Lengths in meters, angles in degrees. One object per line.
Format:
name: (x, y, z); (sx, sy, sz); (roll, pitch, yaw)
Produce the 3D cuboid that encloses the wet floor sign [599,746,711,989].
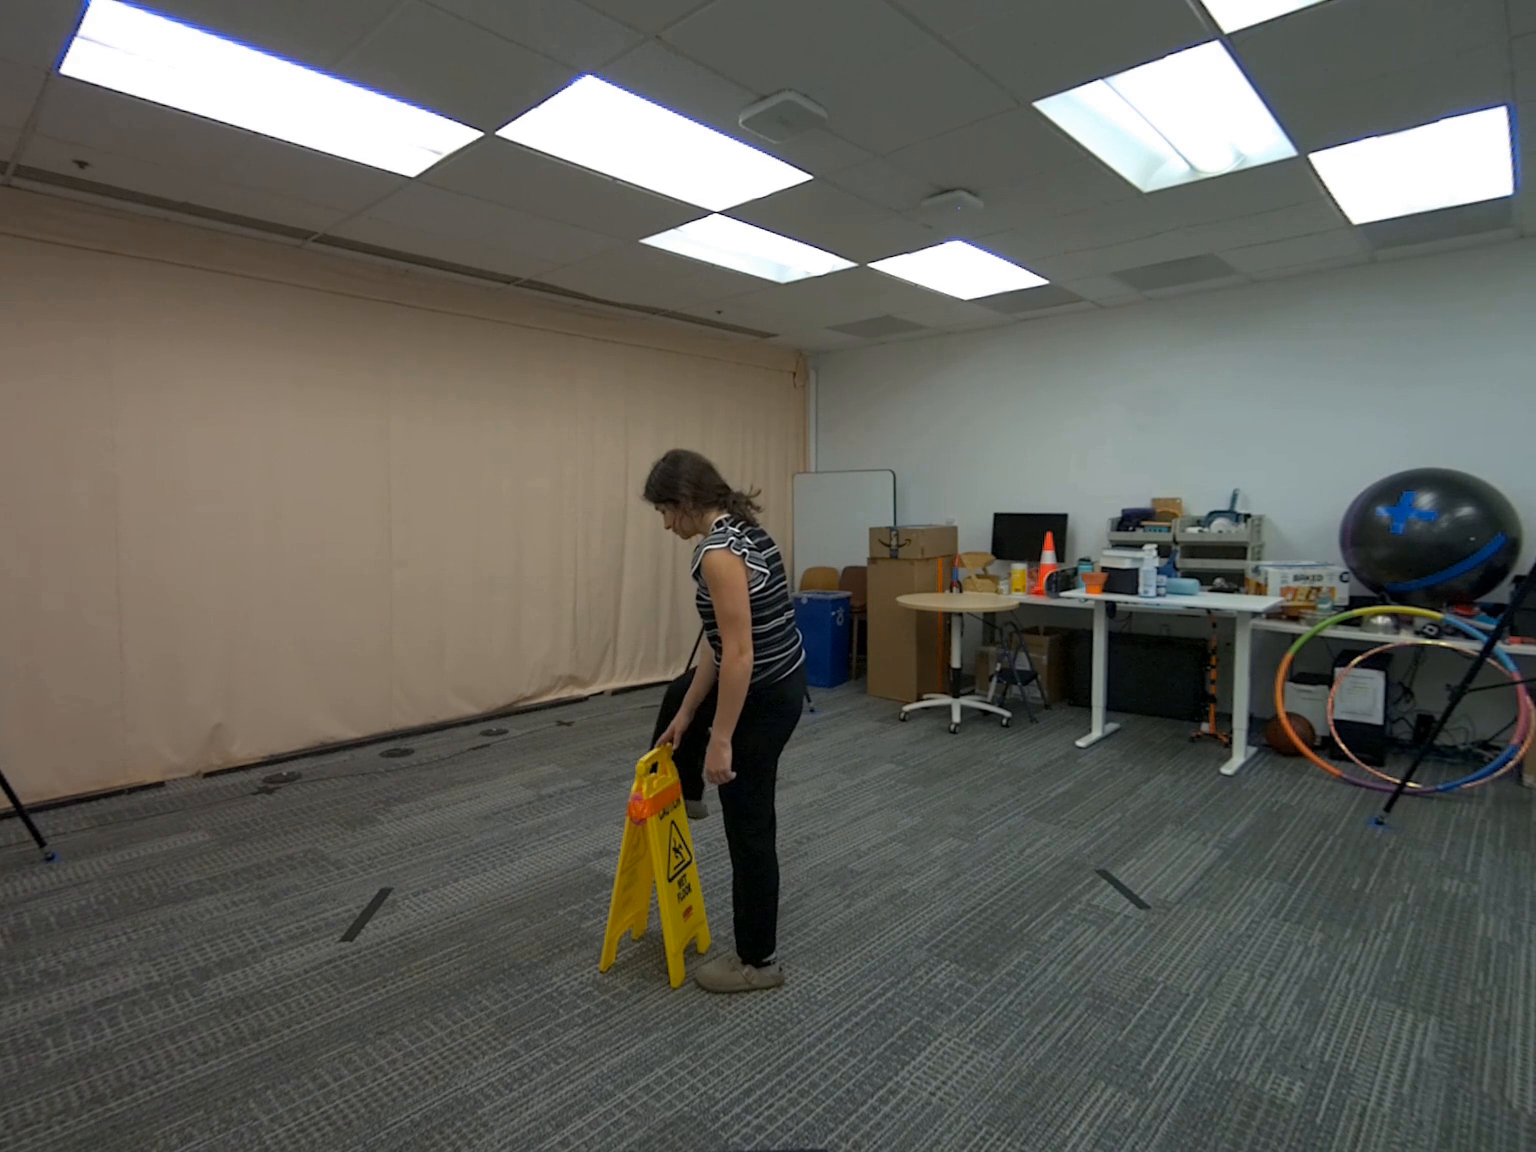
wet floor sign: (-0.347, 0.858, 2.575); (0.296, 0.645, 0.277); (0, 3, 19)
